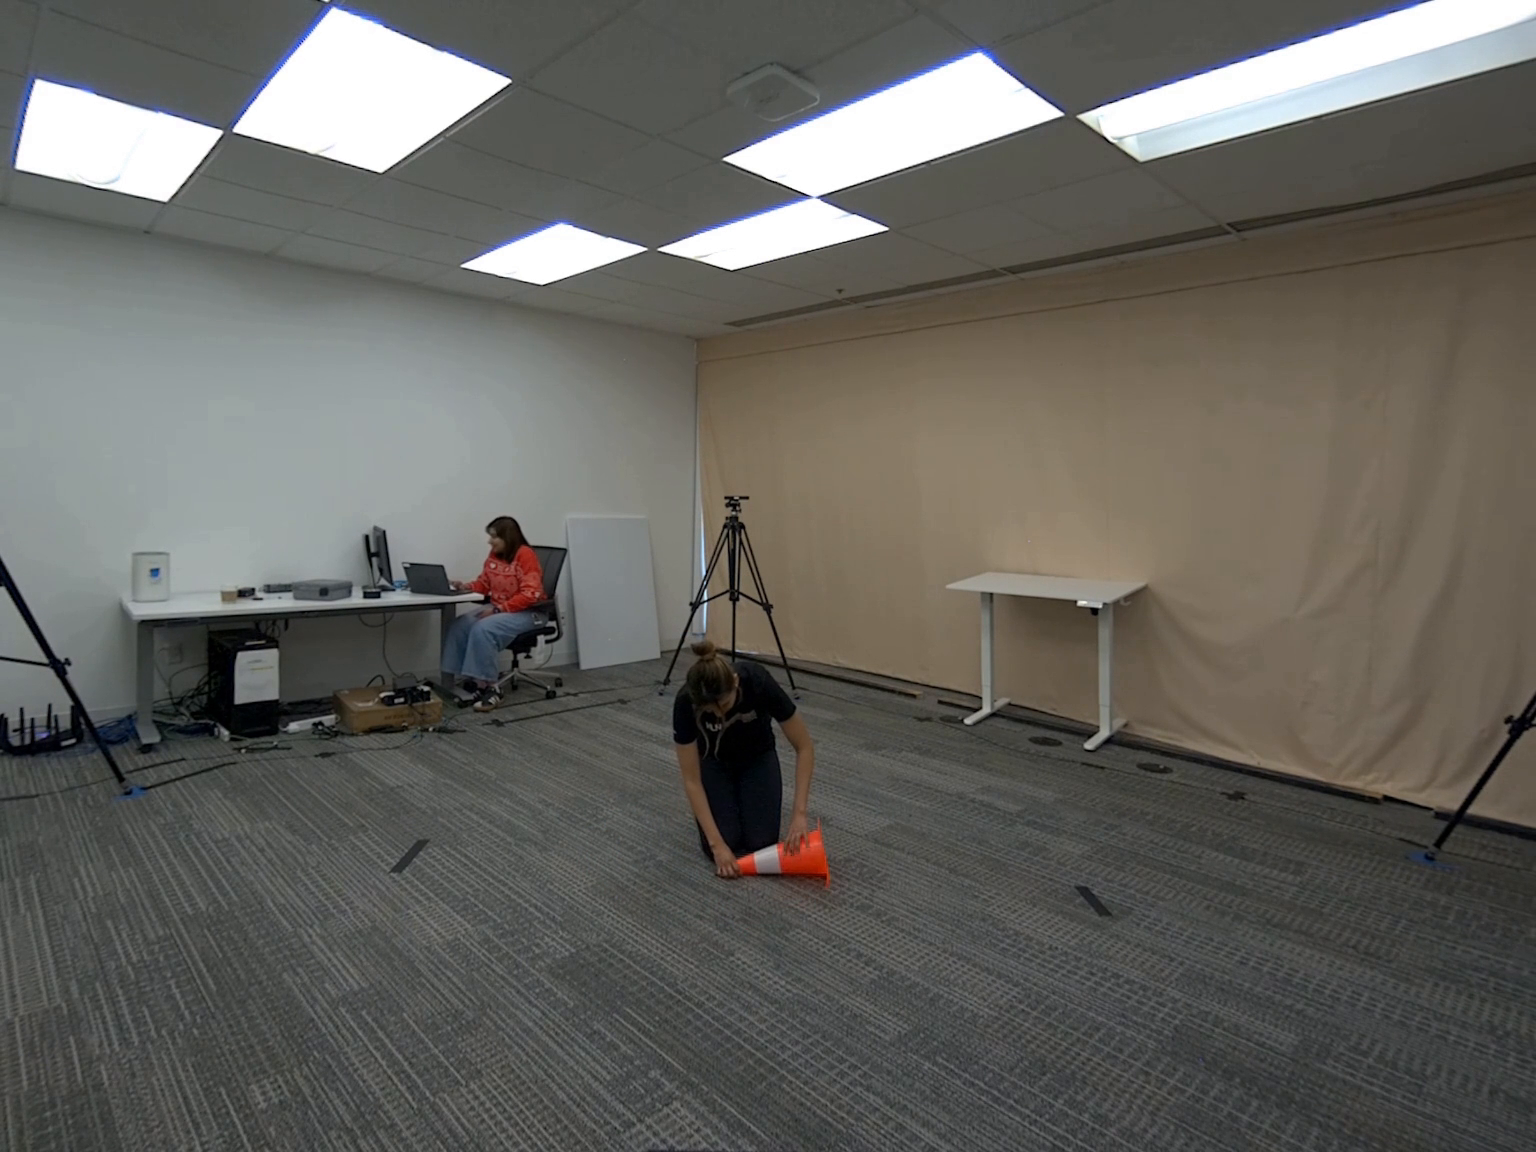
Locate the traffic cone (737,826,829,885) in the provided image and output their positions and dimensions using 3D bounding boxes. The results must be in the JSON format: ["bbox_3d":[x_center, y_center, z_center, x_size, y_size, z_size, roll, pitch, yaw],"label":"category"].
[{"bbox_3d":[0.015,1.036,3.109,0.384,0.204,0.204,-7,-2,1],"label":"traffic cone"}]
